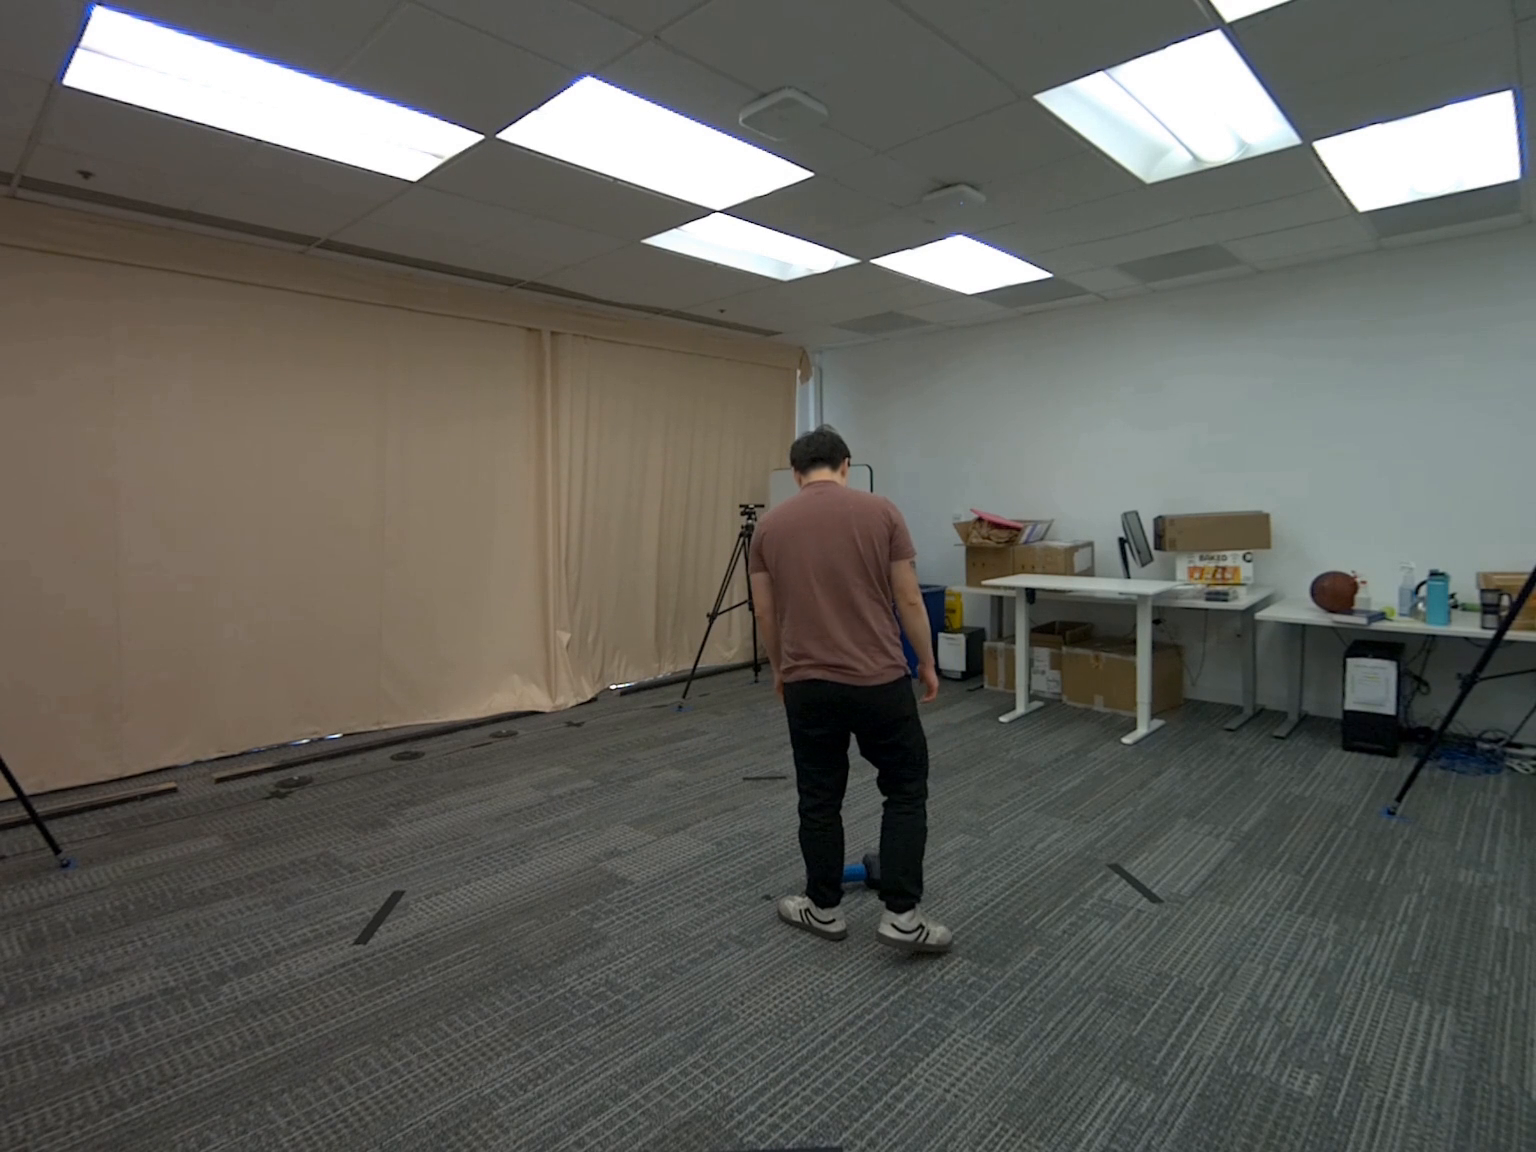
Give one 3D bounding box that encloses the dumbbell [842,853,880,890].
[{"bbox_3d":[0.295,1.079,3.040,0.291,0.121,0.111,-2,35,-8],"label":"dumbbell"}]
